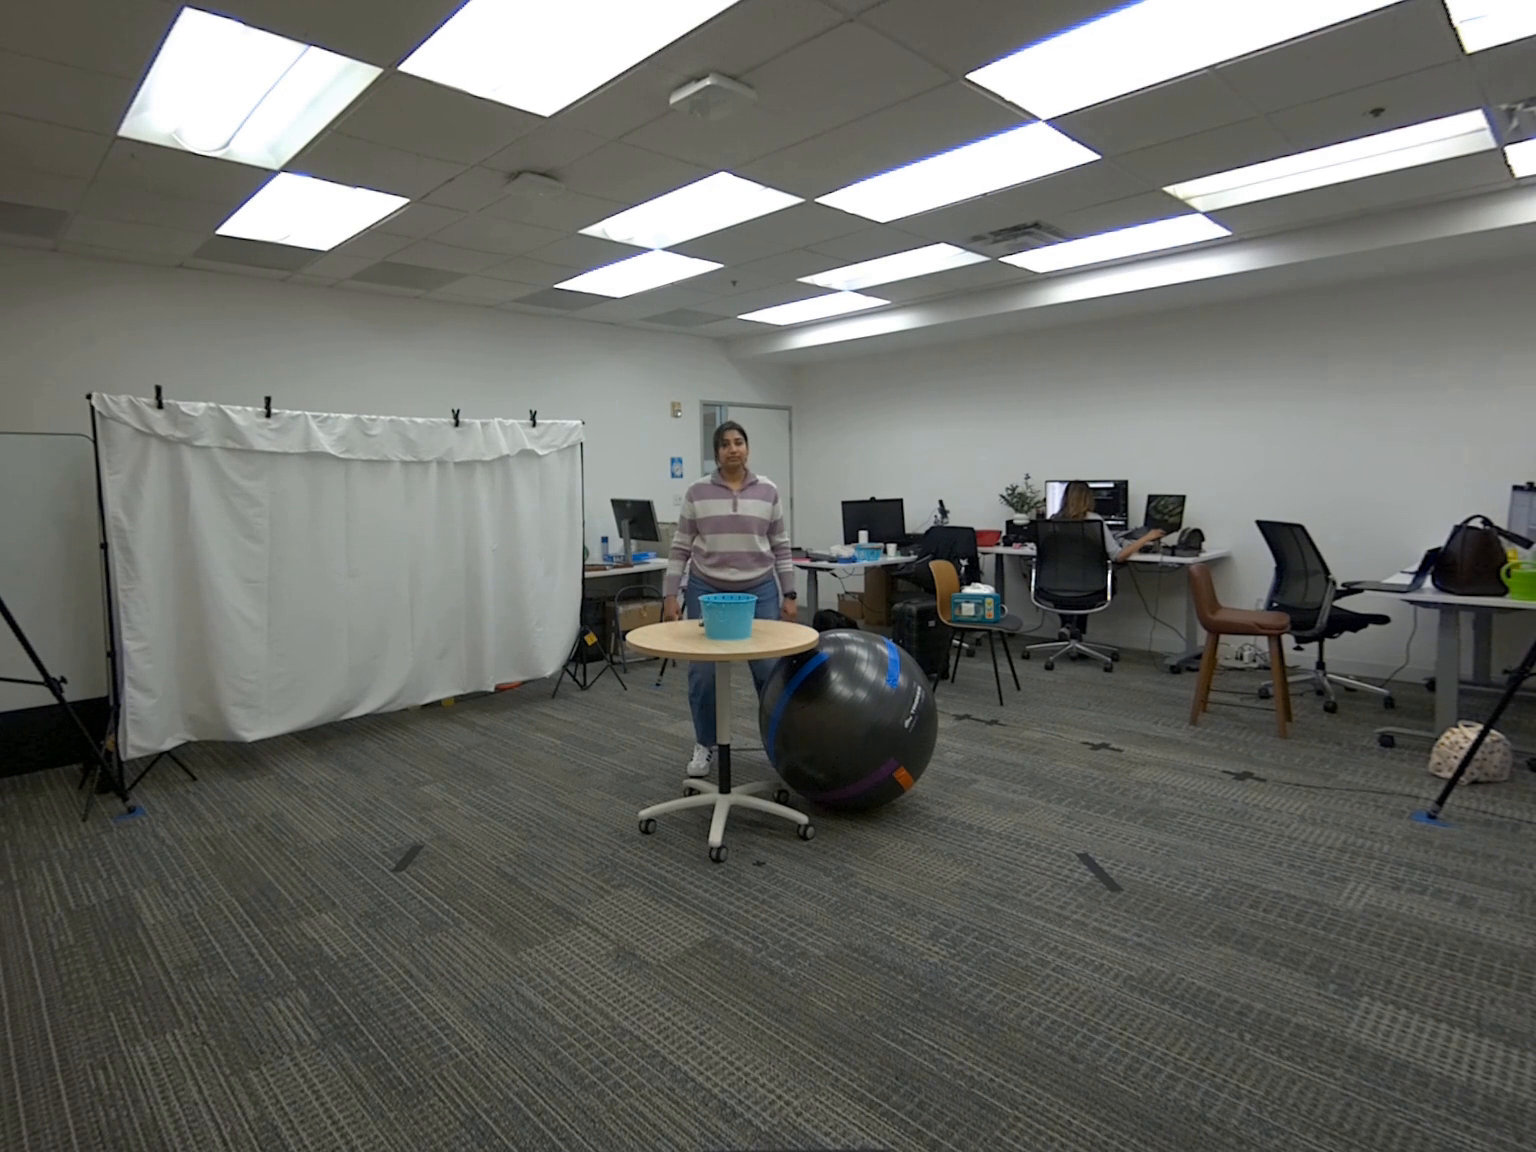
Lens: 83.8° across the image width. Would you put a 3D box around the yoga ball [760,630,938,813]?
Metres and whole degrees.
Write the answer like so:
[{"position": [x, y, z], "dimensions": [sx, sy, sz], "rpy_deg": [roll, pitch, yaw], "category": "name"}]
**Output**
[{"position": [0.355, 0.612, 3.651], "dimensions": [0.757, 0.755, 0.762], "rpy_deg": [-1, 5, -2], "category": "yoga ball"}]
